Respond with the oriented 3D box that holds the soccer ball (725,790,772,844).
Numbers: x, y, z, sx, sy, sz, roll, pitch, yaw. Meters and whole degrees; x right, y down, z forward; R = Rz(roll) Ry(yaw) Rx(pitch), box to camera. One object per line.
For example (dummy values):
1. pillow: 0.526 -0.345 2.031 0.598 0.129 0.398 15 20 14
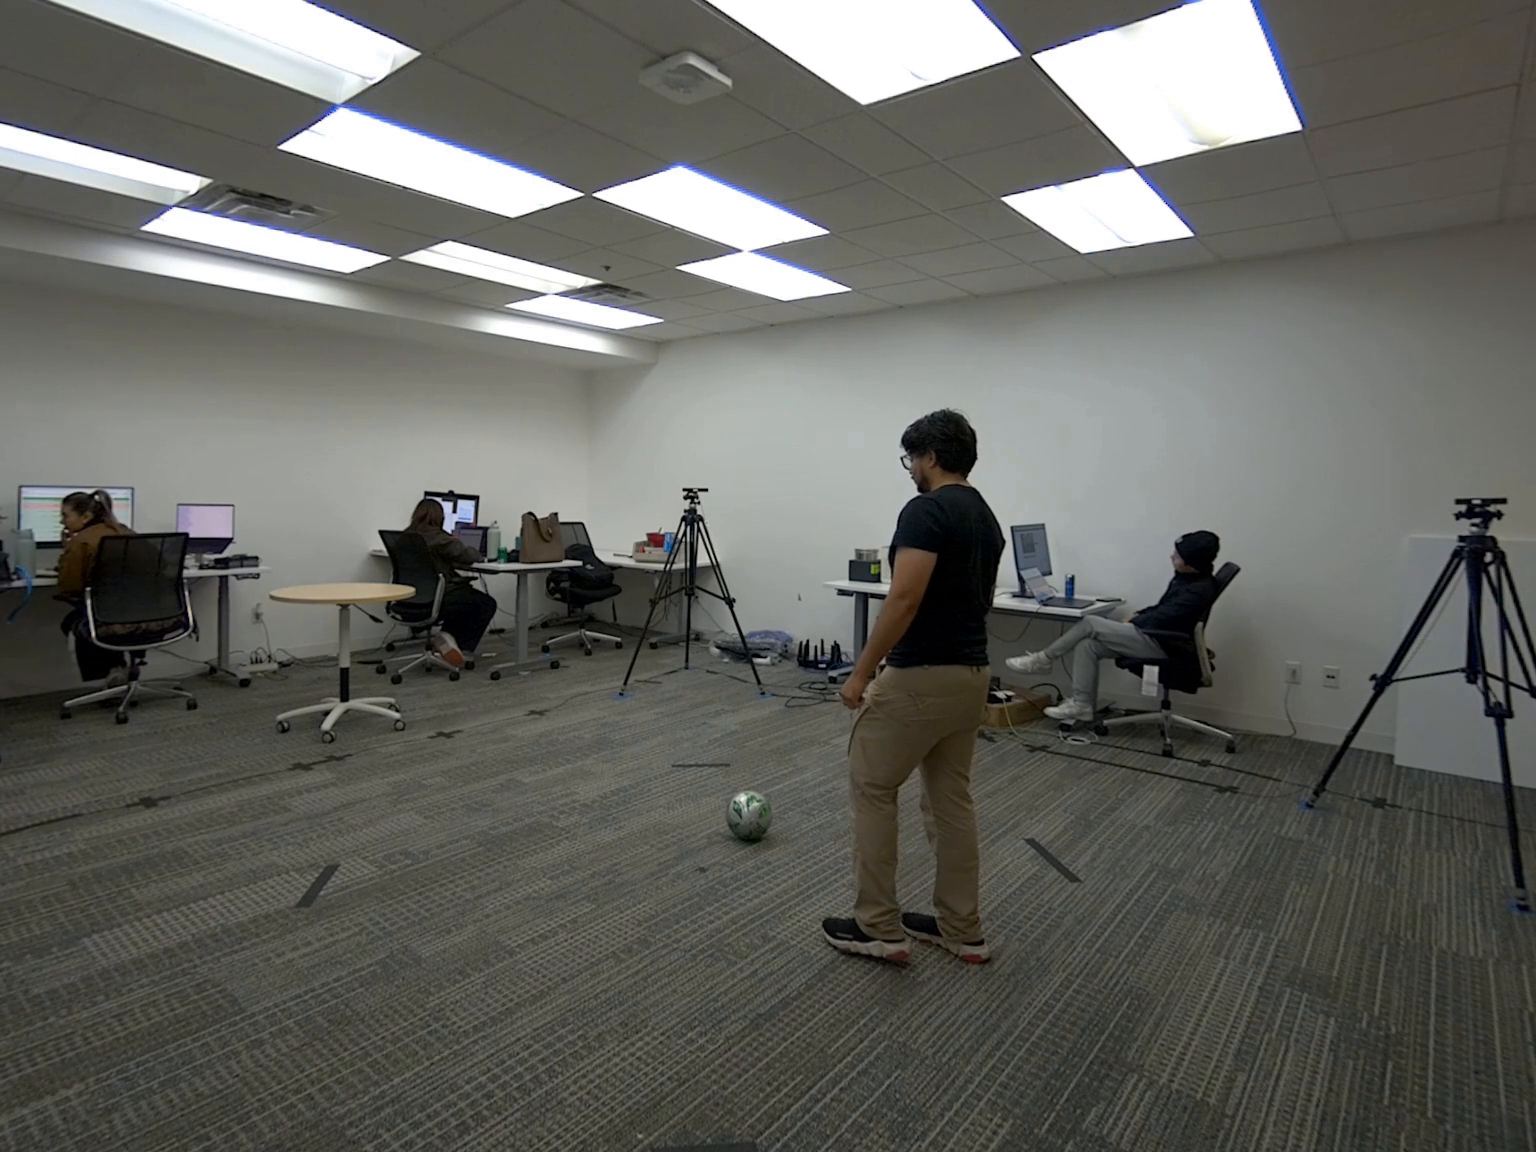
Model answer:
1. soccer ball: -0.084 0.948 3.398 0.187 0.187 0.188 1 4 -2
